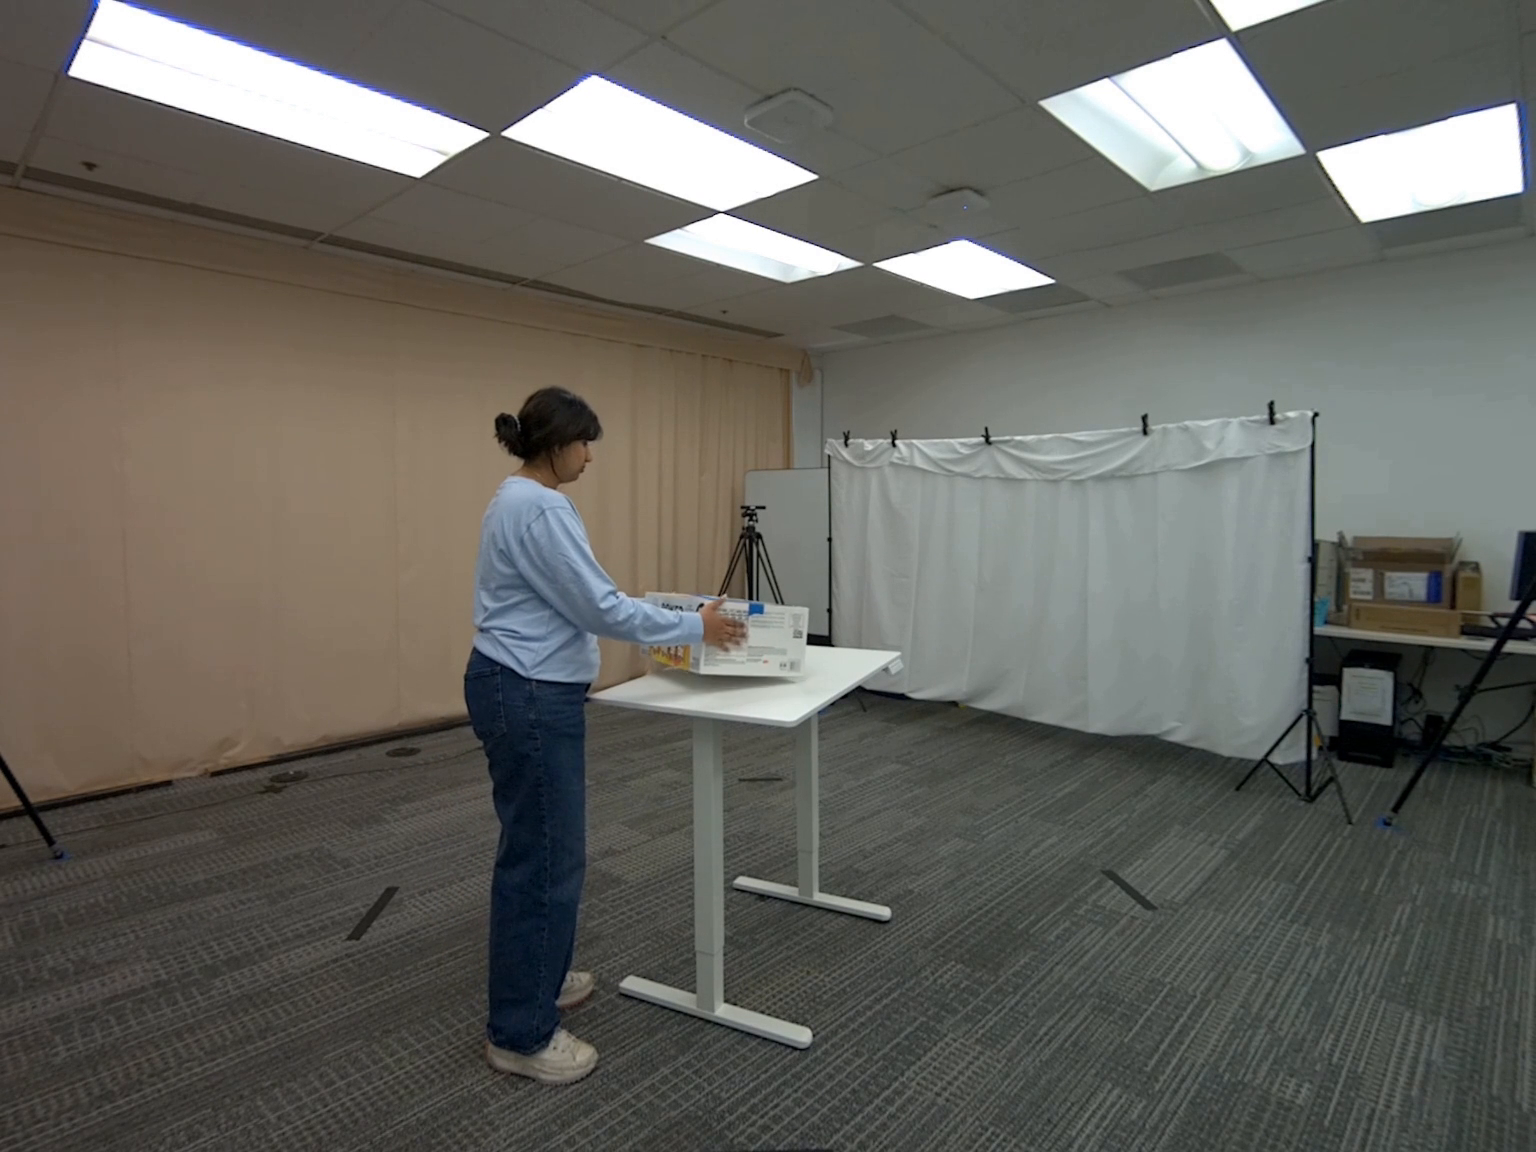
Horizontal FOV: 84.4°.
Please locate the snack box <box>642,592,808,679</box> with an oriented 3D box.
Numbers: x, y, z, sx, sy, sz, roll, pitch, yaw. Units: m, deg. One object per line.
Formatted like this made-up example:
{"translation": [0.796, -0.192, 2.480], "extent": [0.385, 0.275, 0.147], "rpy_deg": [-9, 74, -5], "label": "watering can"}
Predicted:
{"translation": [-0.133, 0.169, 2.517], "extent": [0.331, 0.206, 0.417], "rpy_deg": [4, 0, -30], "label": "snack box"}
